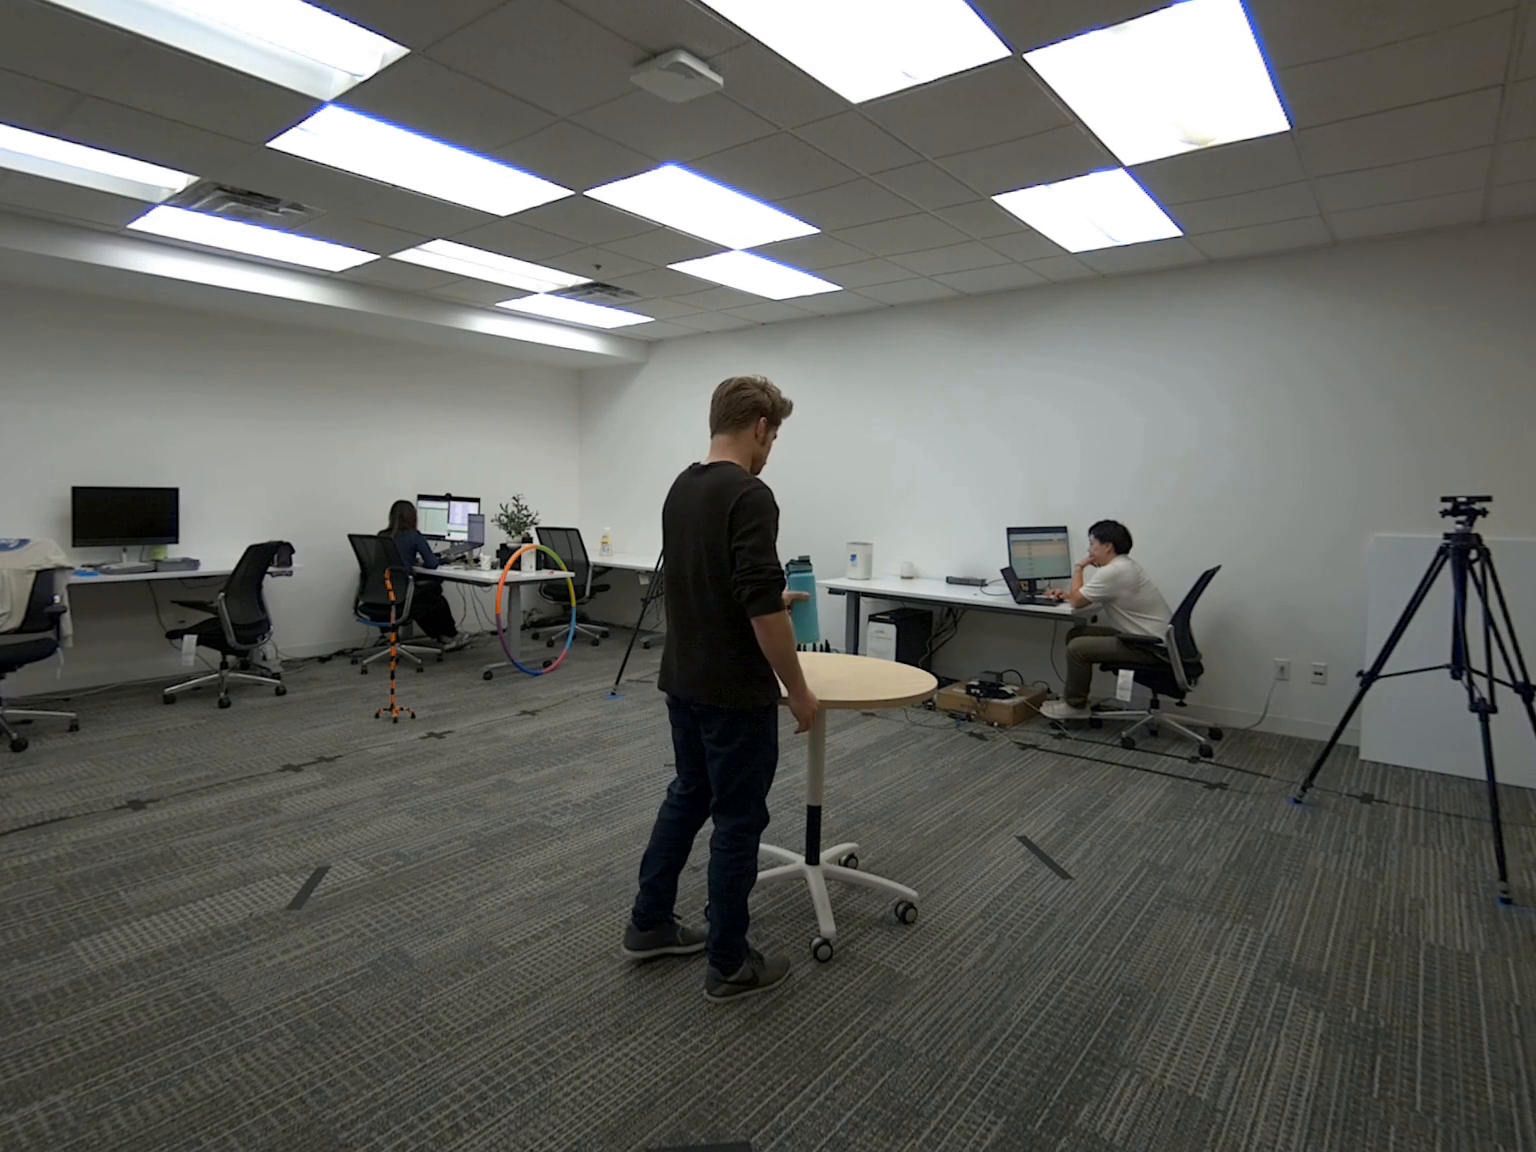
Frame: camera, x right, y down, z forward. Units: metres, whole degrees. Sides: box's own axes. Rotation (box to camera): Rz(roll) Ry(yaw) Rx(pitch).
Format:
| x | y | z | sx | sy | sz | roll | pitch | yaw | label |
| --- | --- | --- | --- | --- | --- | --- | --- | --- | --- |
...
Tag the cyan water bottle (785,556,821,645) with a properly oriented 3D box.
| x | y | z | sx | sy | sz | roll | pitch | yaw | label |
| --- | --- | --- | --- | --- | --- | --- | --- | --- | --- |
| 0.107 | 0.074 | 2.763 | 0.092 | 0.284 | 0.092 | -4 | -3 | -2 | cyan water bottle |
